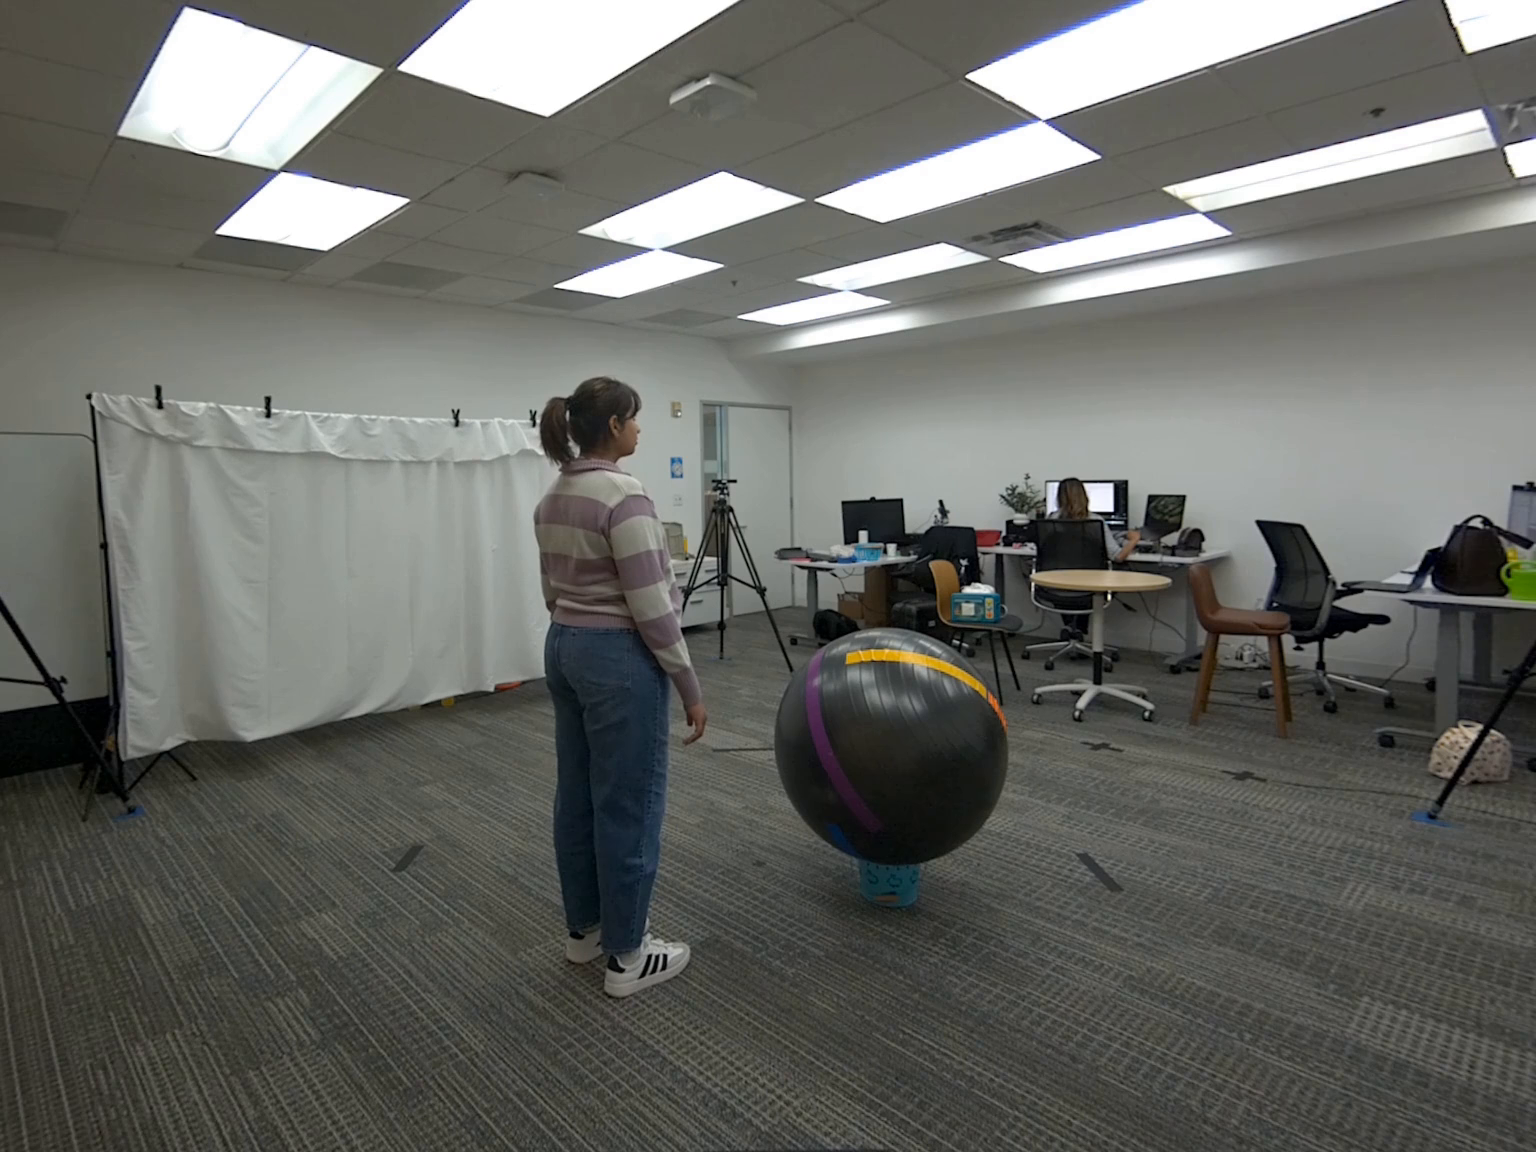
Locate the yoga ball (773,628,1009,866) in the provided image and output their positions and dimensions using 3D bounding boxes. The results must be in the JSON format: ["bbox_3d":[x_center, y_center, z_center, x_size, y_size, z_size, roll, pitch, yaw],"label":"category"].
[{"bbox_3d":[0.406,0.556,2.838,0.757,0.755,0.762,-1,5,-2],"label":"yoga ball"}]
